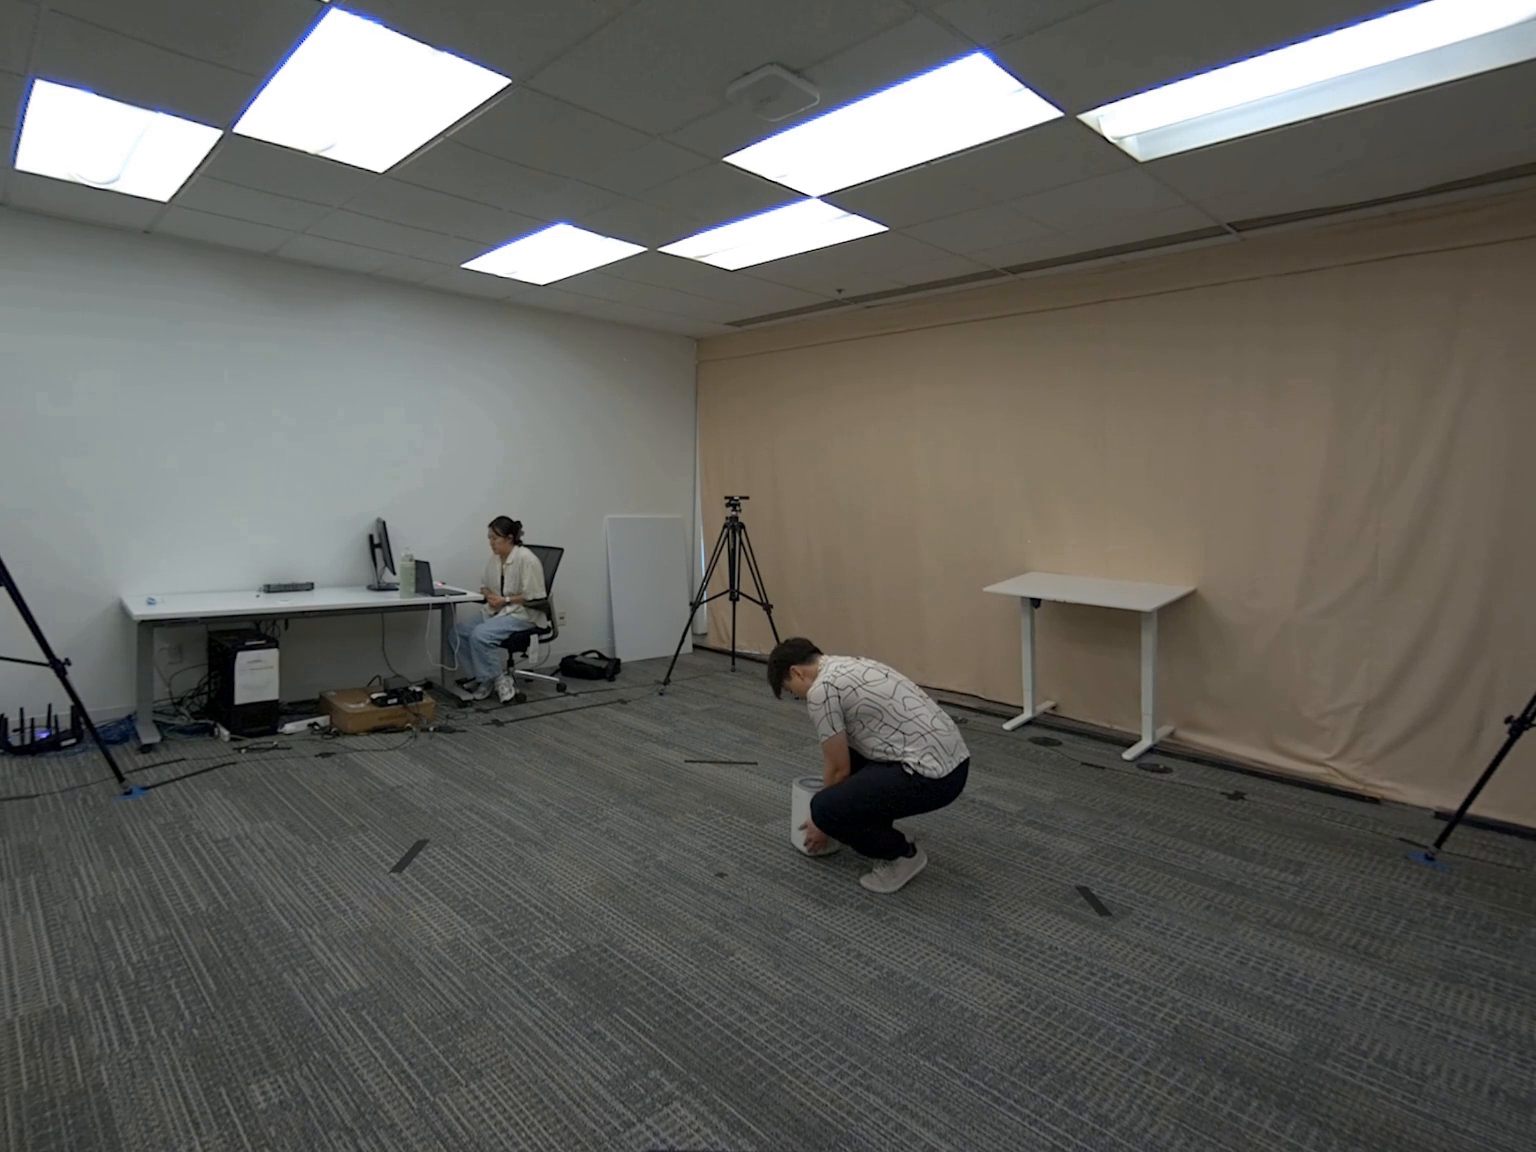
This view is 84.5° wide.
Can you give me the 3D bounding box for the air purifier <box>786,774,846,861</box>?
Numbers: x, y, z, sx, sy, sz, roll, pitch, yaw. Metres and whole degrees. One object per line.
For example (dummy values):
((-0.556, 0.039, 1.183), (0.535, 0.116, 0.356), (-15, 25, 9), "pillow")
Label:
((0.191, 0.951, 3.357), (0.168, 0.265, 0.175), (0, 2, -25), "air purifier")
